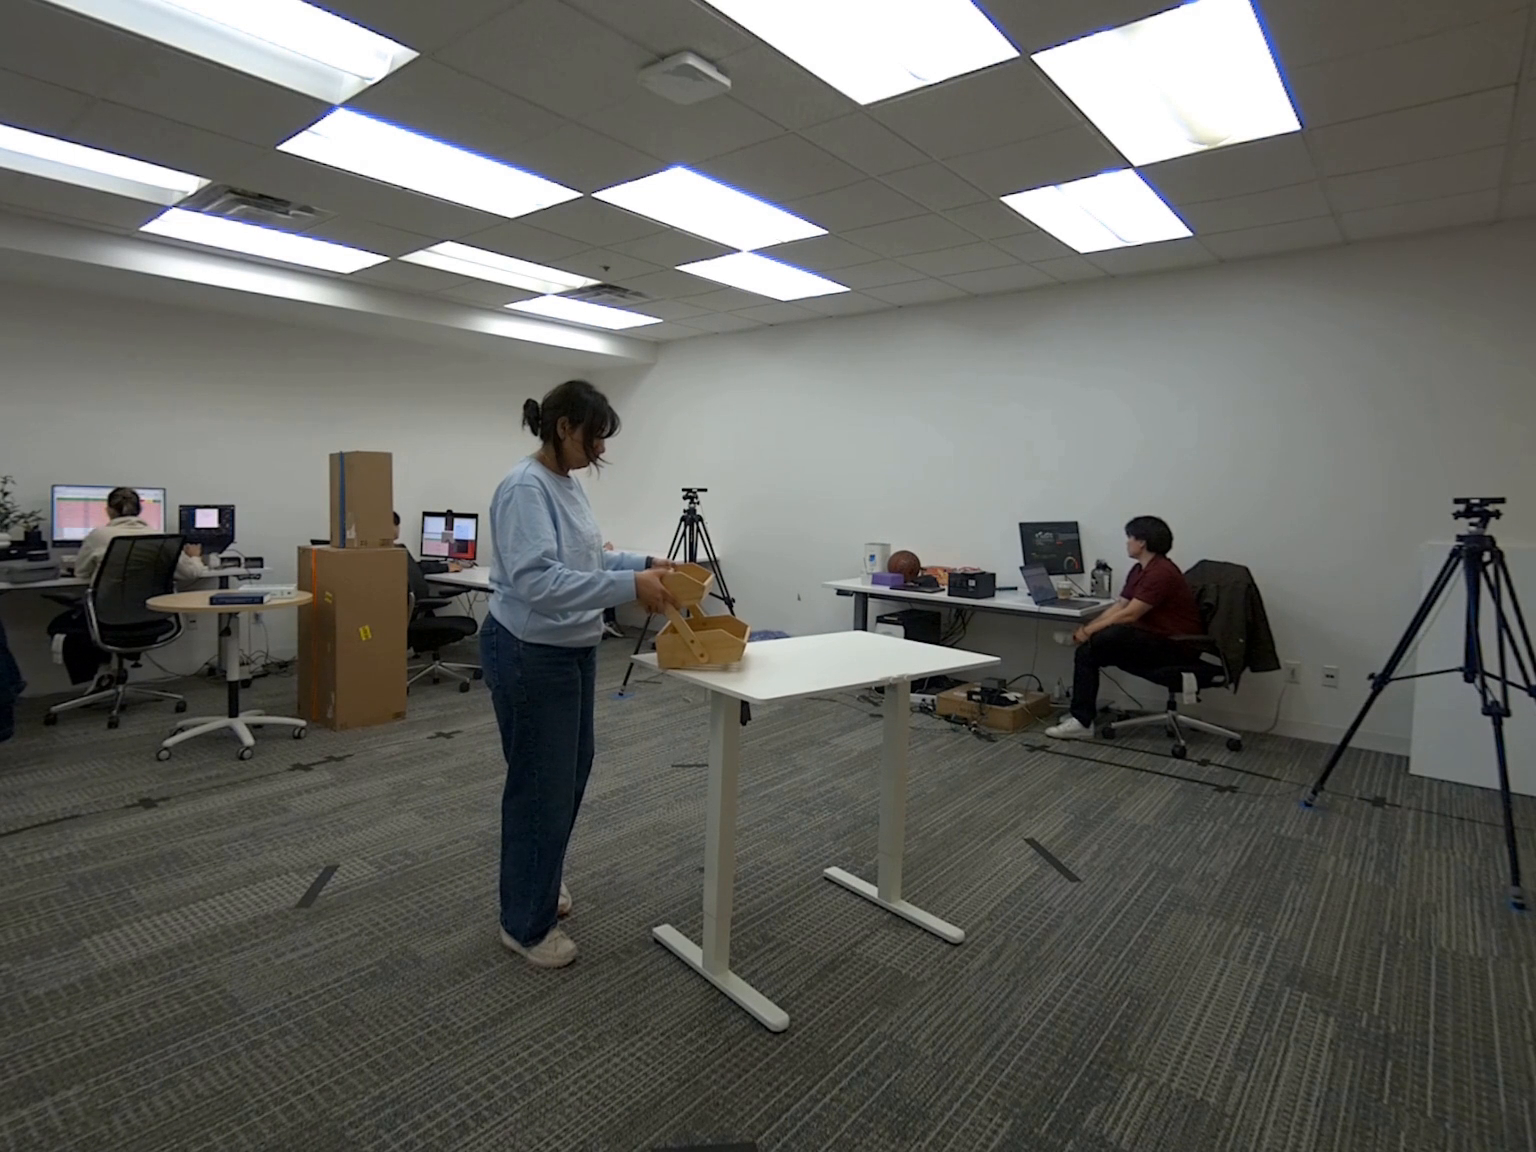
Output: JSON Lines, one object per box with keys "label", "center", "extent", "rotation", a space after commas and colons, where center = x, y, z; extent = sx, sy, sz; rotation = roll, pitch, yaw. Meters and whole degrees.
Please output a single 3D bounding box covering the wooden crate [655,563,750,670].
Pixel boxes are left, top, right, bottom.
{"label": "wooden crate", "center": [-0.232, 0.098, 2.479], "extent": [0.303, 0.272, 0.325], "rotation": [-7, 4, 2]}
